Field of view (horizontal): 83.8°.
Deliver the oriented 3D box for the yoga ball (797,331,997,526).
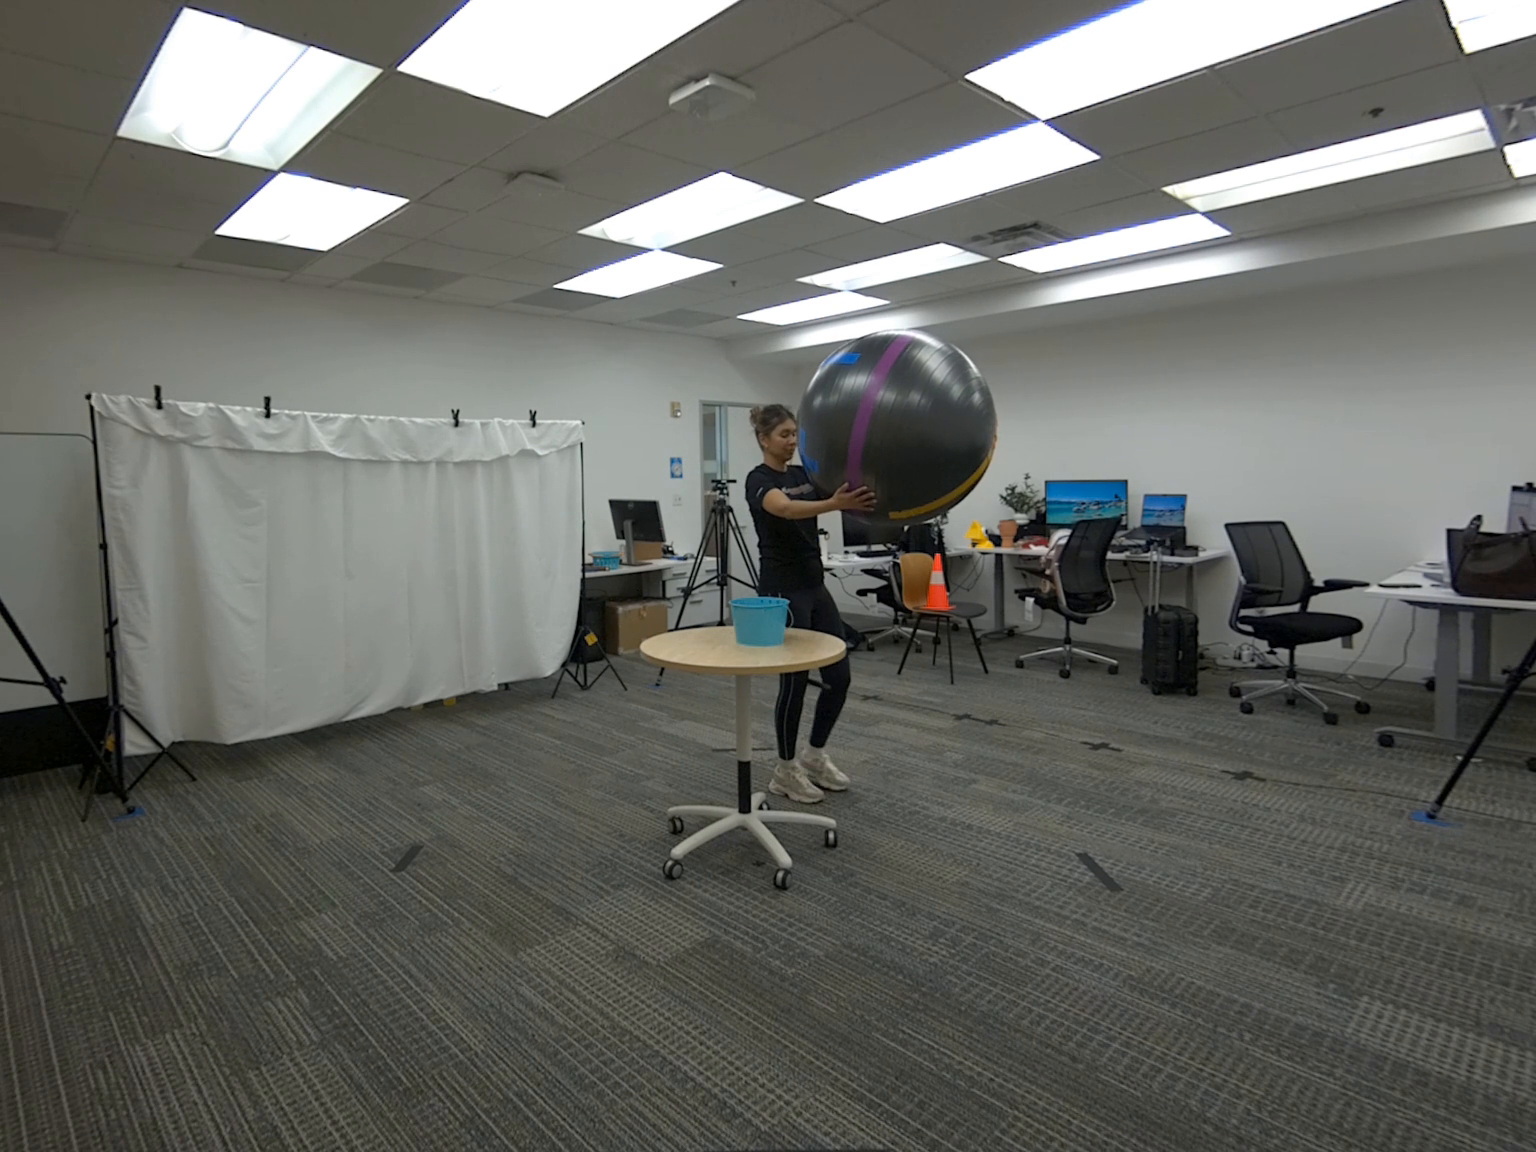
[{"bbox_3d":[0.495,-0.564,3.312,0.757,0.755,0.762,-1,5,-2],"label":"yoga ball"}]
